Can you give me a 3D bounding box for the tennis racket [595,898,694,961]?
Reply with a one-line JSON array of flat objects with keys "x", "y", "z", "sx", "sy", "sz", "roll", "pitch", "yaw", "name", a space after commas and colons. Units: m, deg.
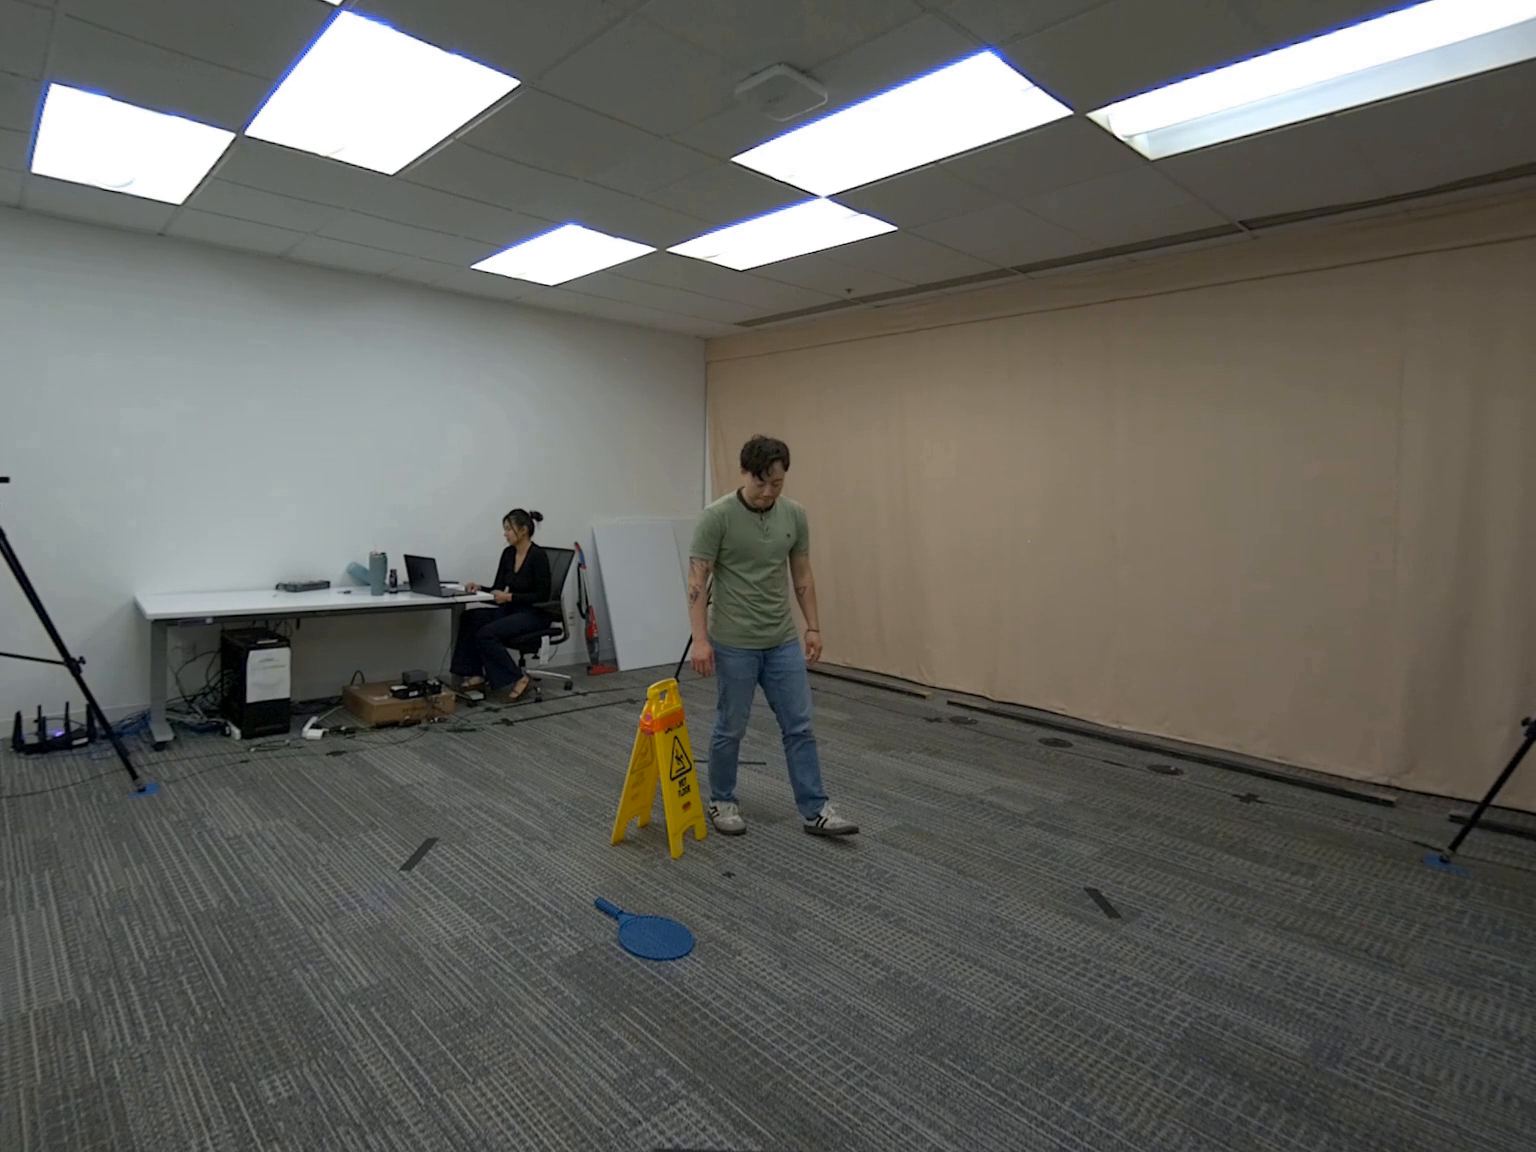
[{"x": -0.417, "y": 1.125, "z": 2.687, "sx": 0.444, "sy": 0.031, "sz": 0.209, "roll": 8, "pitch": 9, "yaw": 44, "name": "tennis racket"}]
